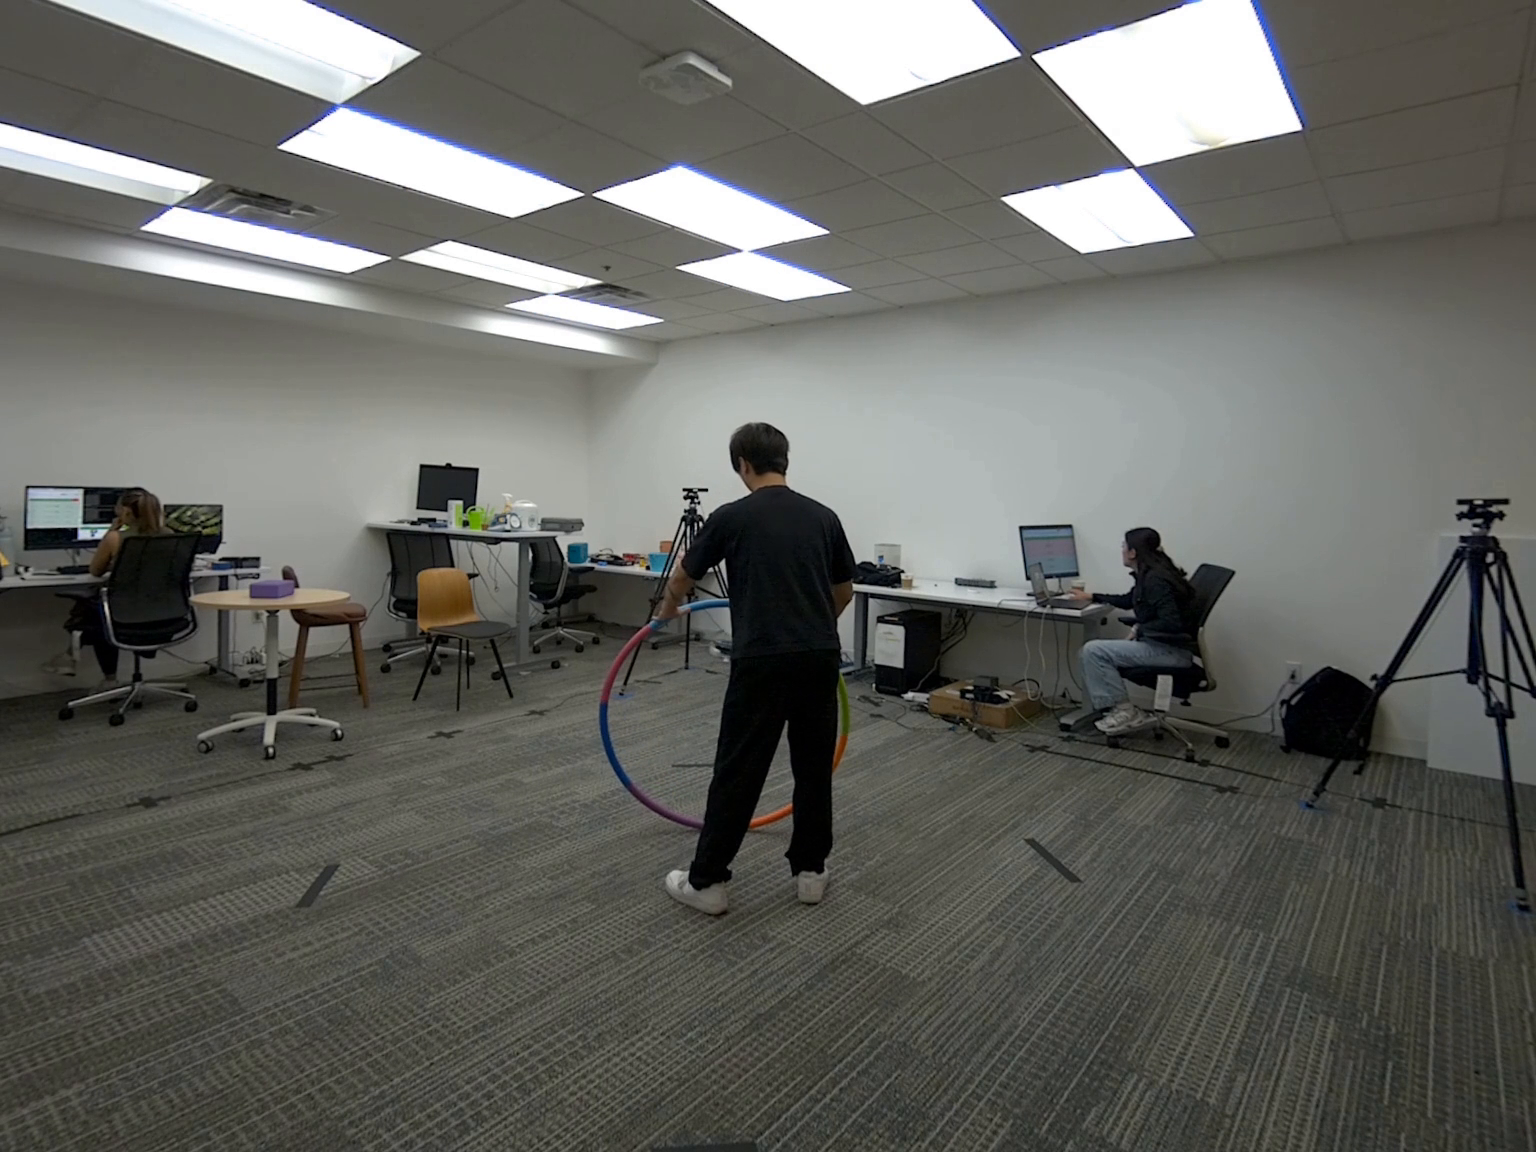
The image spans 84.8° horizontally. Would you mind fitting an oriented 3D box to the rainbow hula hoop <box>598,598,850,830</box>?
[{"bbox_3d":[-0.186,0.568,3.389,0.977,0.970,0.036,1,8,-2],"label":"rainbow hula hoop"}]
